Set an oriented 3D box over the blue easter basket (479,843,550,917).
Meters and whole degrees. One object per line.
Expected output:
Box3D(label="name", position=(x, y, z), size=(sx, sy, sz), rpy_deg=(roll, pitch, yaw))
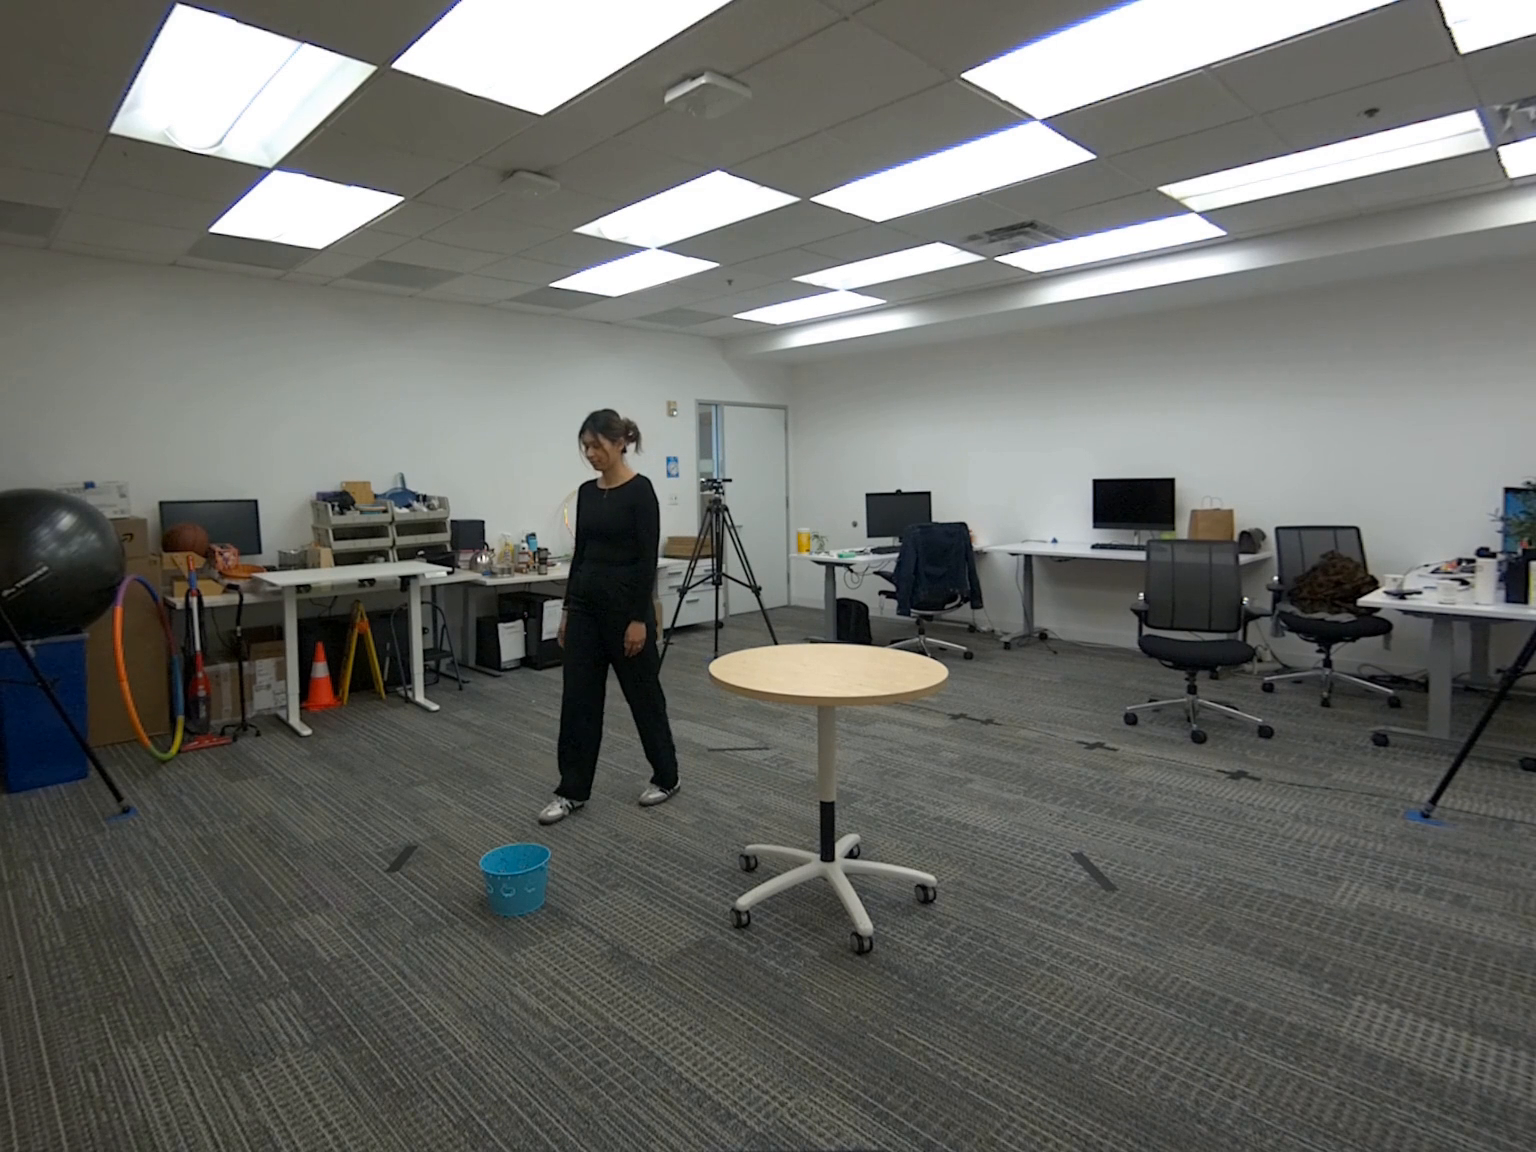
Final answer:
Box3D(label="blue easter basket", position=(-0.835, 1.017, 2.852), size=(0.243, 0.155, 0.245), rpy_deg=(-1, 6, -2))
